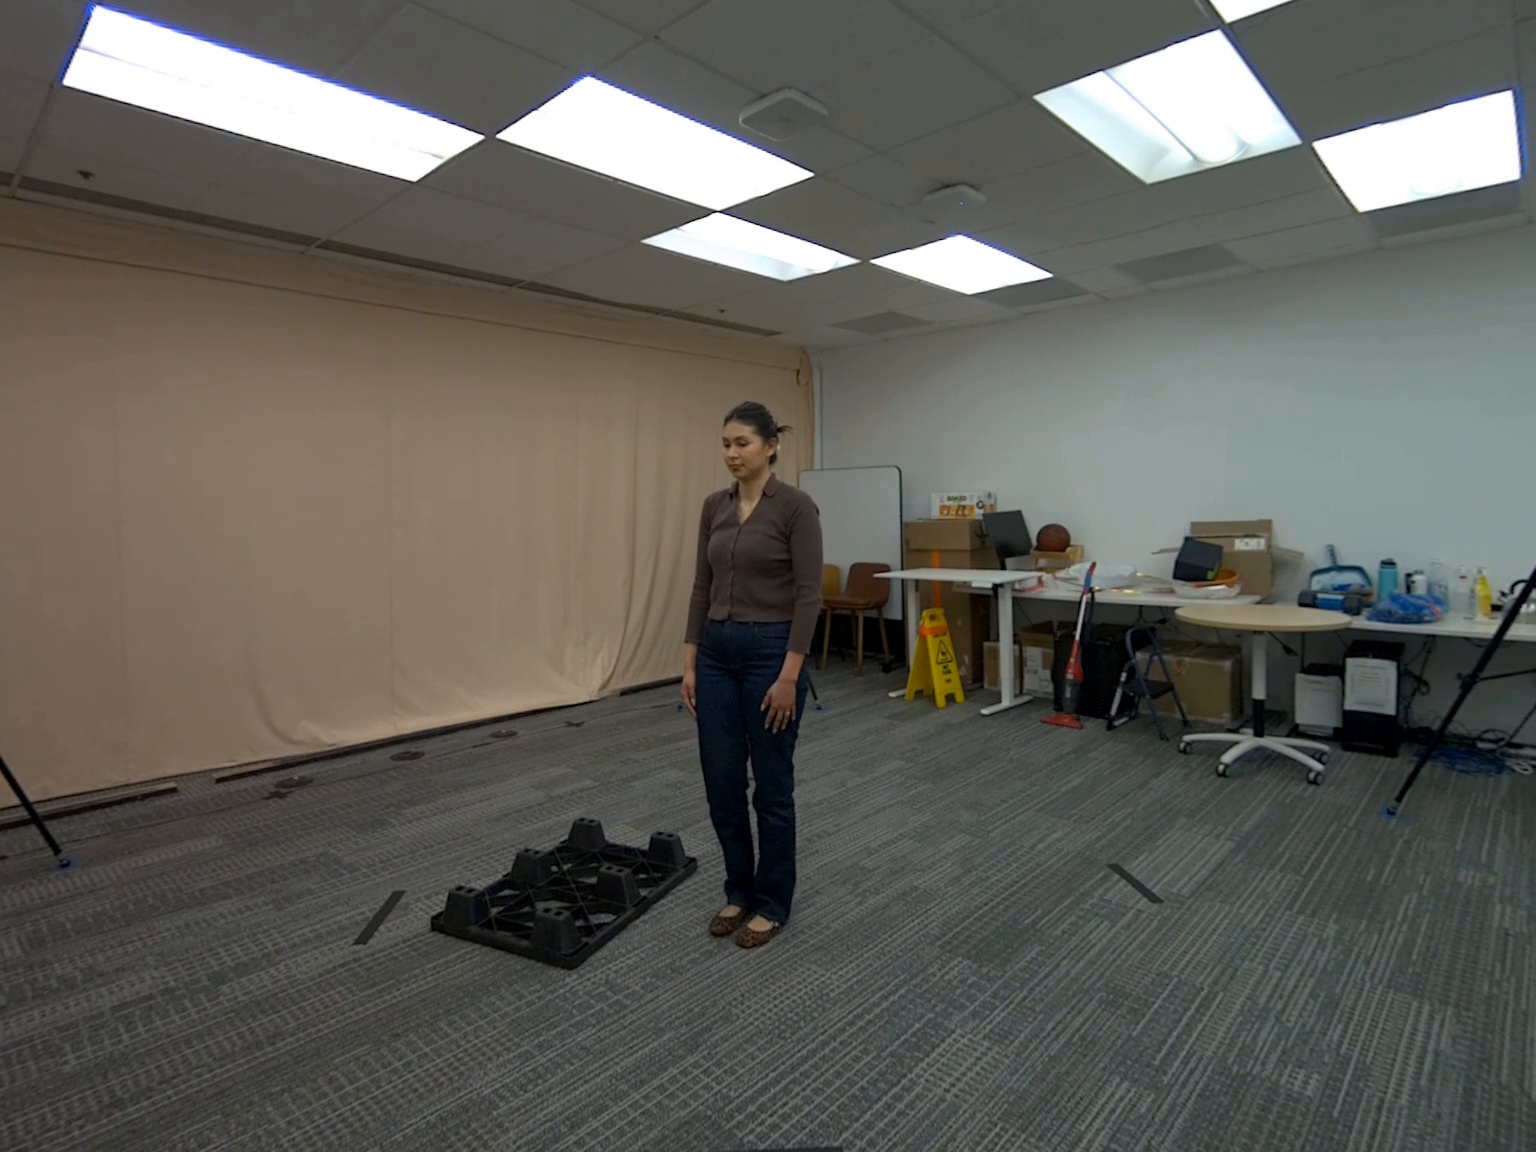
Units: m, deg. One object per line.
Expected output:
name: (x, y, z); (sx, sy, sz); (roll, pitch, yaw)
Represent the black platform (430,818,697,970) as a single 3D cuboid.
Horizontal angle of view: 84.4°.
black platform: (-0.701, 1.086, 3.020); (0.621, 0.143, 0.787); (1, 5, 25)
